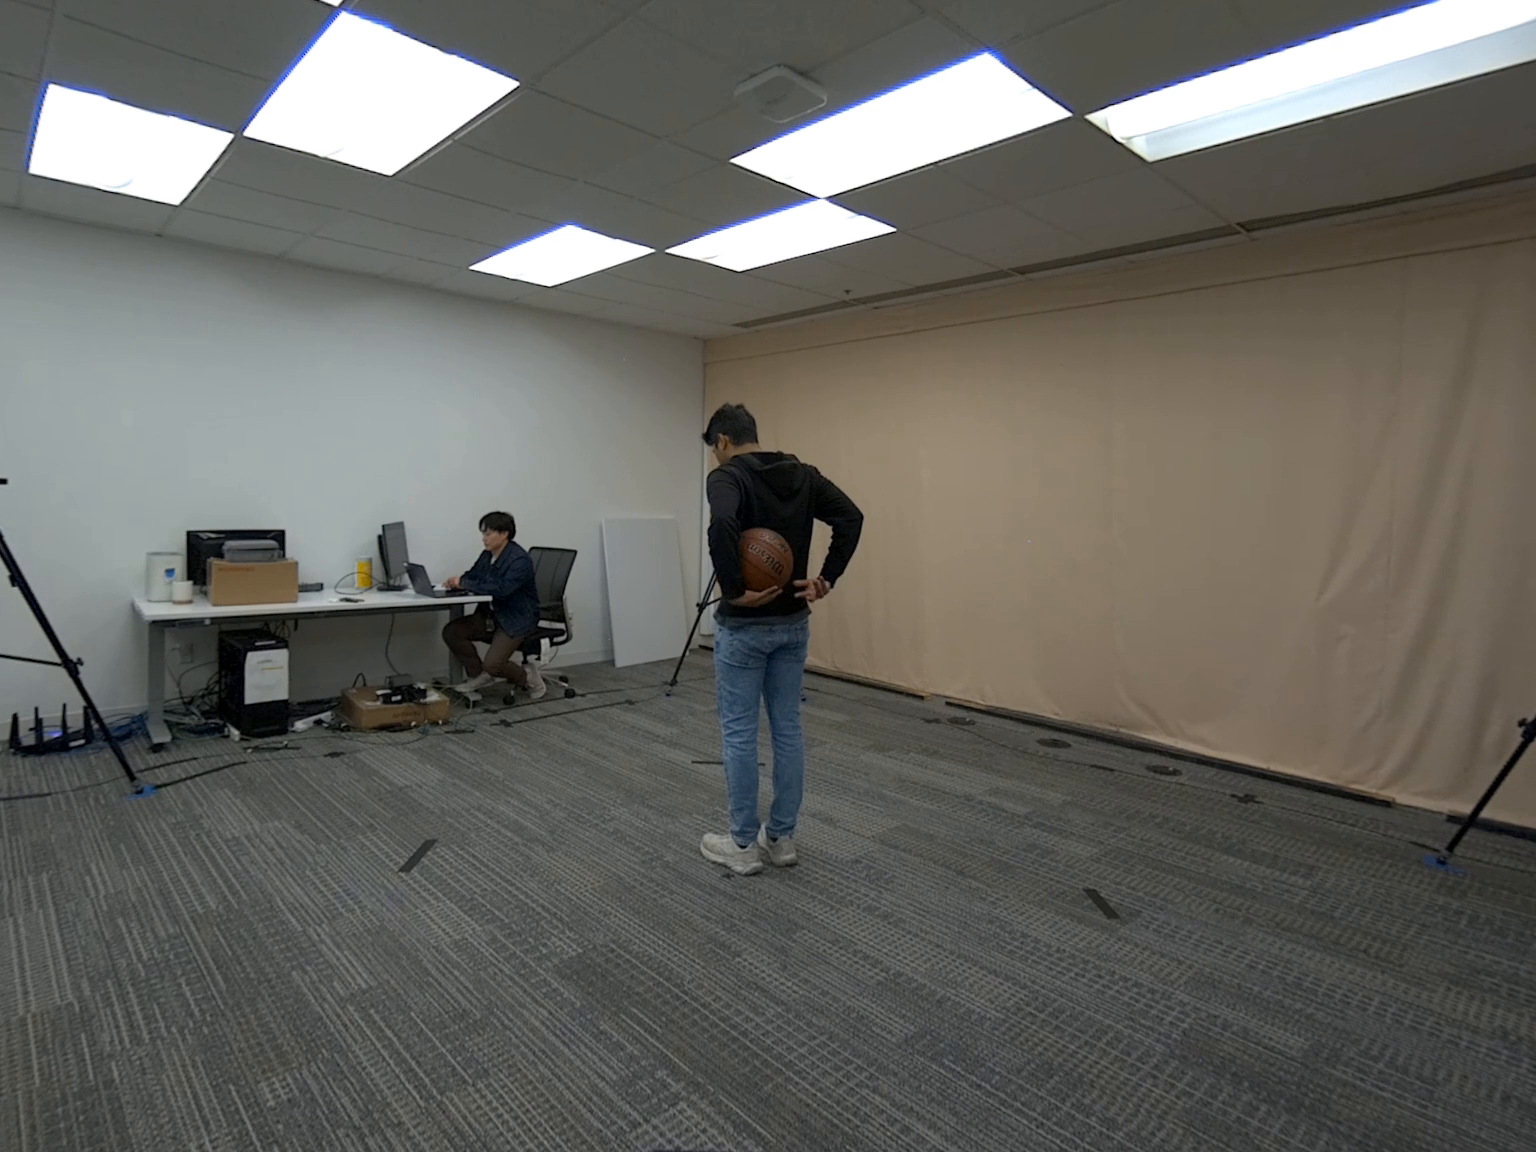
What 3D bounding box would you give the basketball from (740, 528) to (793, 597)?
[{"bbox_3d":[-0.043,-0.040,2.947,0.236,0.235,0.237,1,4,-1],"label":"basketball"}]
